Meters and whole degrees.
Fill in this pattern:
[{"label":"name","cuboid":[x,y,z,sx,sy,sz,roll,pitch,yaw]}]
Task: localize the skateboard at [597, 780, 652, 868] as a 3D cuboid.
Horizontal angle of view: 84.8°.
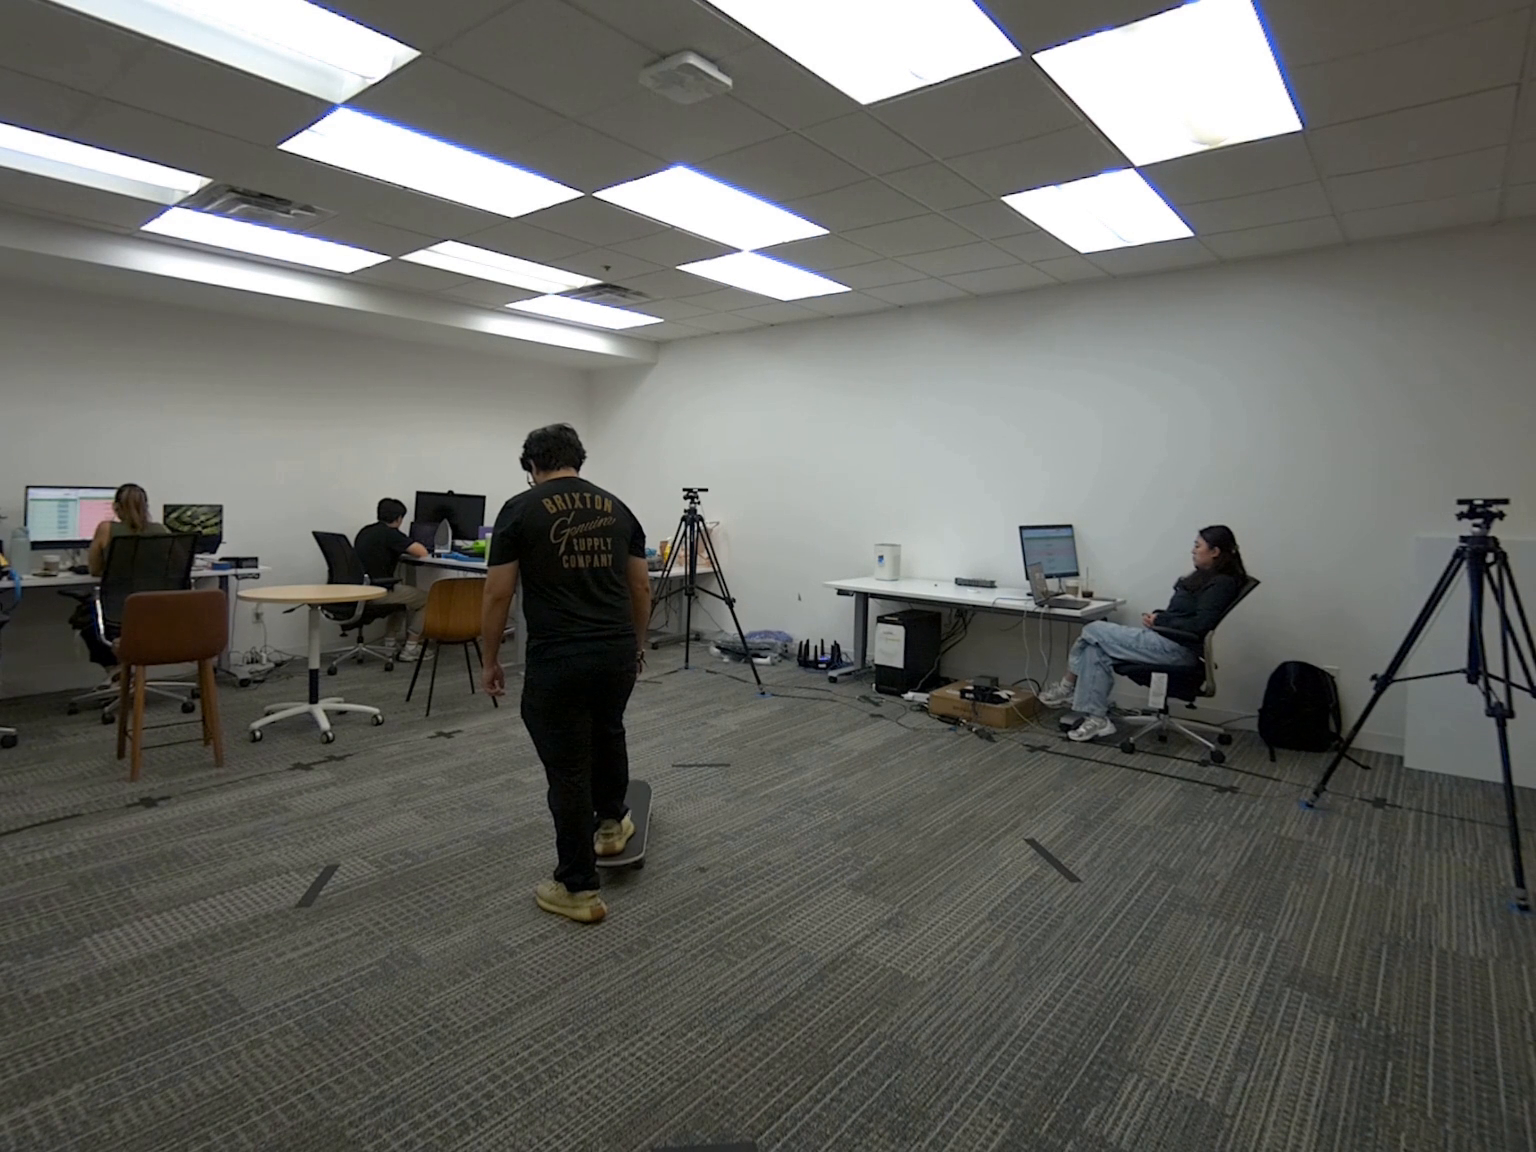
[{"label":"skateboard","cuboid":[-0.574,0.985,3.317,0.193,0.110,0.792,-3,7,-4]}]
